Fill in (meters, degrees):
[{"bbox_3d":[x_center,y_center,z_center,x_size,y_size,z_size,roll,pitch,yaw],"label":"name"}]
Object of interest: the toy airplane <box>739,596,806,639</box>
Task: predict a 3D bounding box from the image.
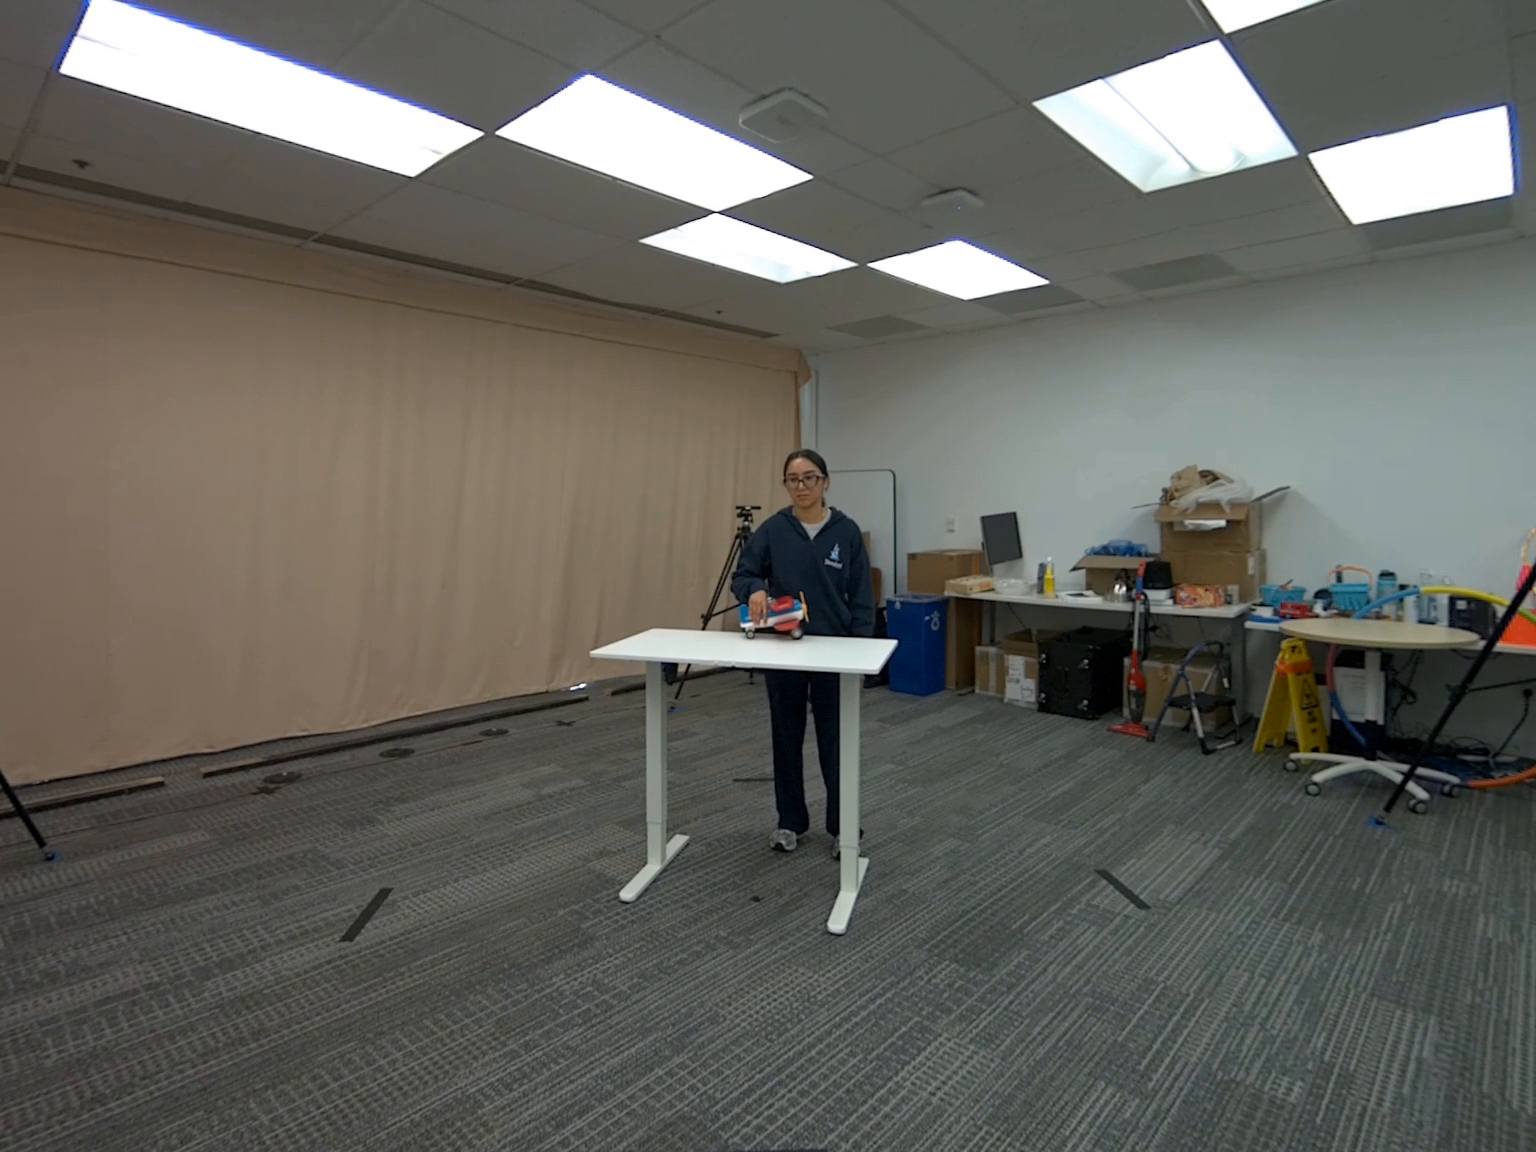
[{"bbox_3d":[0.037,0.162,3.232,0.253,0.156,0.258,-3,5,-28],"label":"toy airplane"}]
